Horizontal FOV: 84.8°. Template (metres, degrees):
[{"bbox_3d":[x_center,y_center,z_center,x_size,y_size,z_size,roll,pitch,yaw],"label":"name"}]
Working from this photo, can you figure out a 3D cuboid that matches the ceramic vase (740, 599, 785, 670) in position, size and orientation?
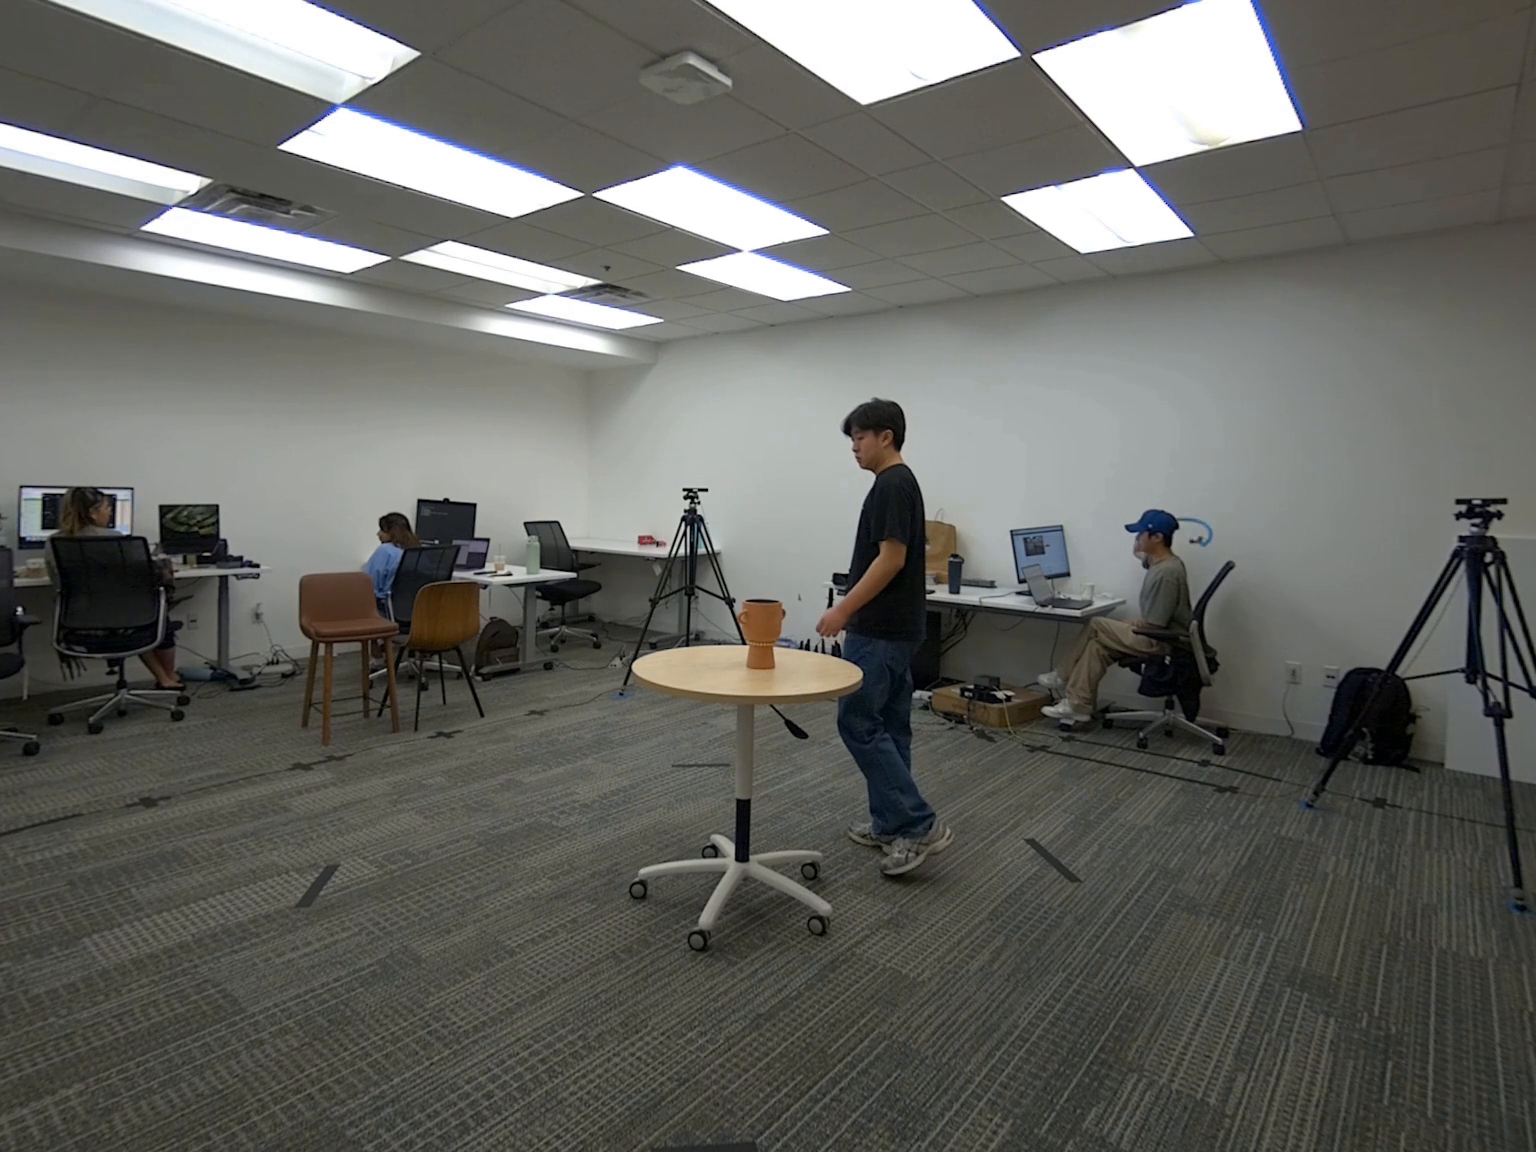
[{"bbox_3d":[-0.028,0.193,2.852,0.160,0.219,0.134,2,3,4],"label":"ceramic vase"}]
